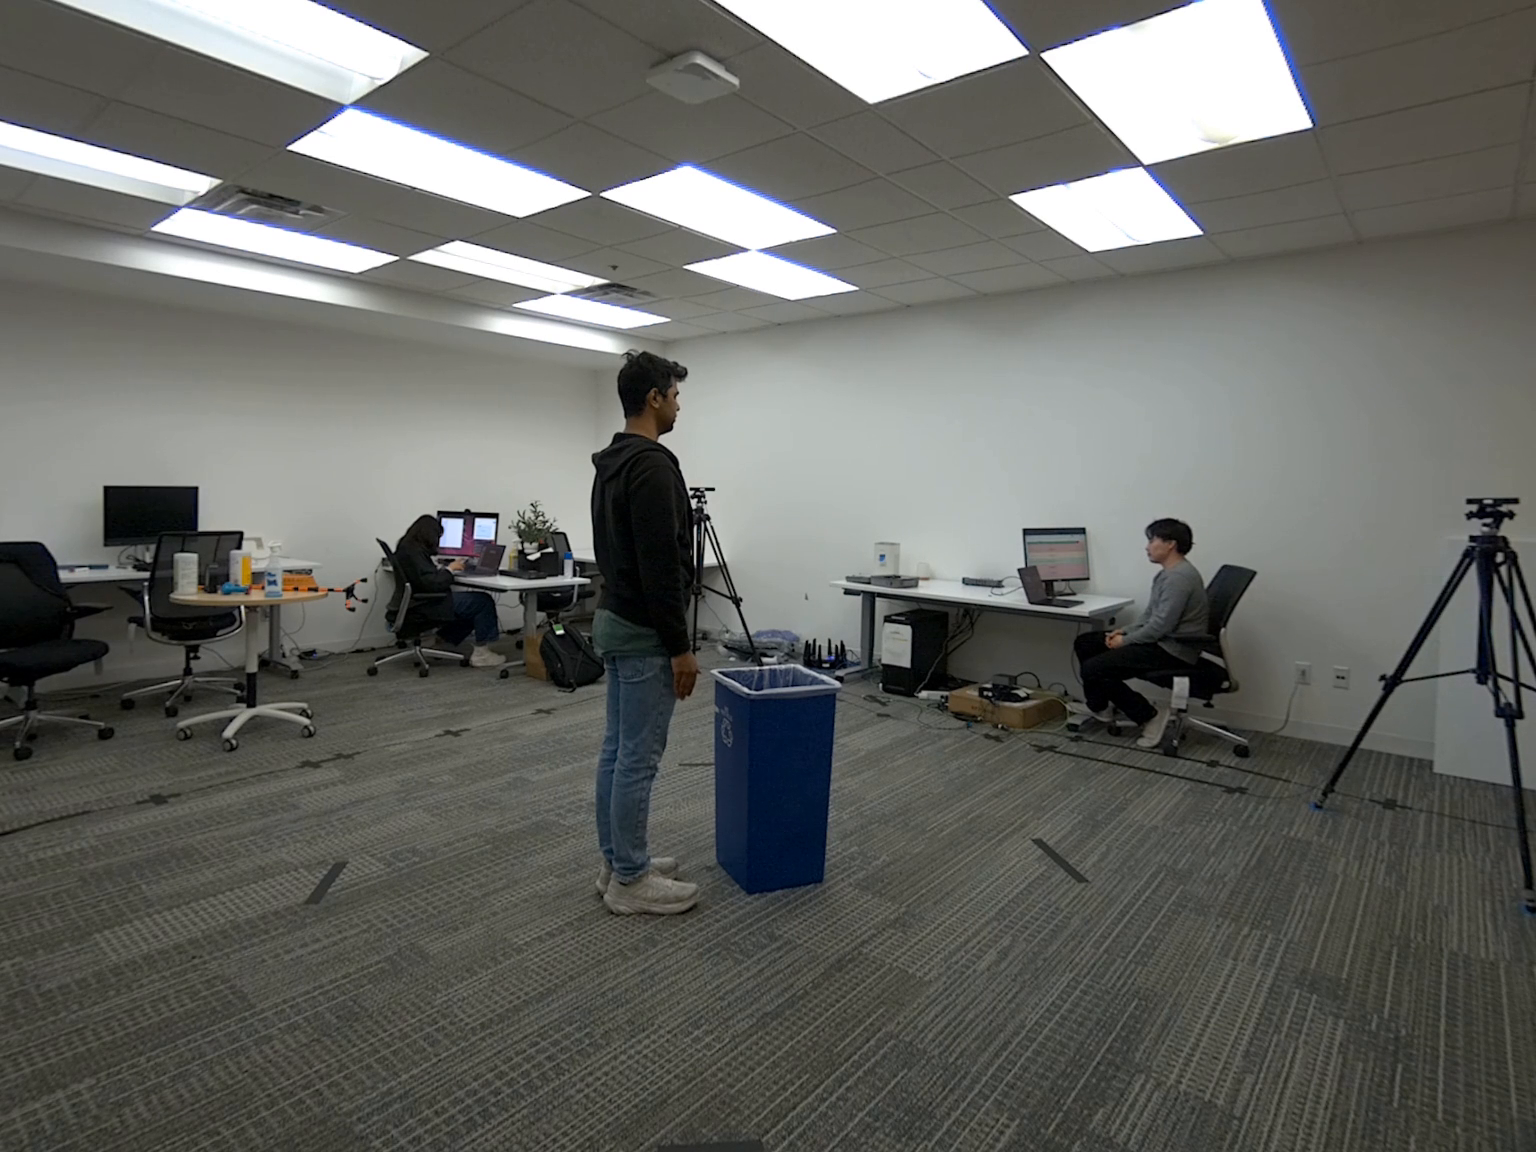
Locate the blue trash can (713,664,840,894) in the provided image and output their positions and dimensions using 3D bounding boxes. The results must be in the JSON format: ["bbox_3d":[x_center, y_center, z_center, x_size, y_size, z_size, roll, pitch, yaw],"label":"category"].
[{"bbox_3d":[0.008,0.714,3.078,0.369,0.711,0.384,-1,4,-25],"label":"blue trash can"}]
